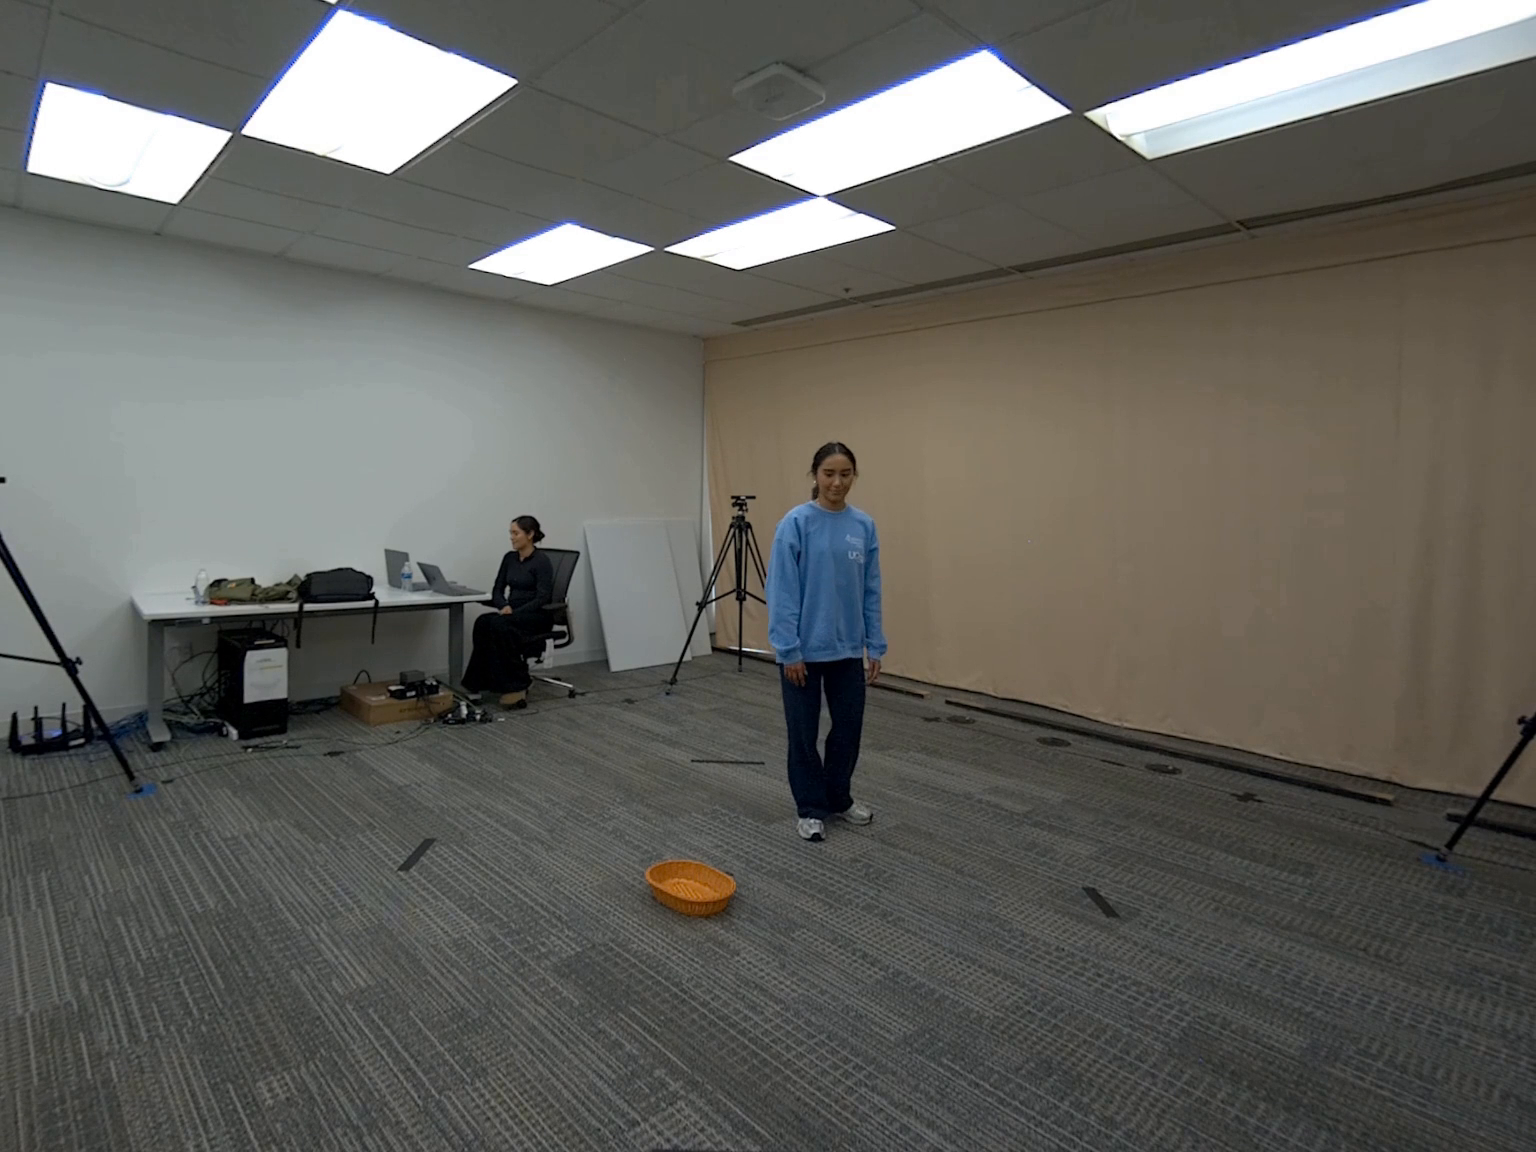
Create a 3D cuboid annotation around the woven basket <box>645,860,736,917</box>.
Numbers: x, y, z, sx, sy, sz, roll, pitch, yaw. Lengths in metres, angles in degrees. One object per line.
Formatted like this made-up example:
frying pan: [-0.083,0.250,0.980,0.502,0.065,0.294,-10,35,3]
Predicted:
woven basket: [-0.274,1.079,2.911,0.359,0.073,0.246,6,6,45]
